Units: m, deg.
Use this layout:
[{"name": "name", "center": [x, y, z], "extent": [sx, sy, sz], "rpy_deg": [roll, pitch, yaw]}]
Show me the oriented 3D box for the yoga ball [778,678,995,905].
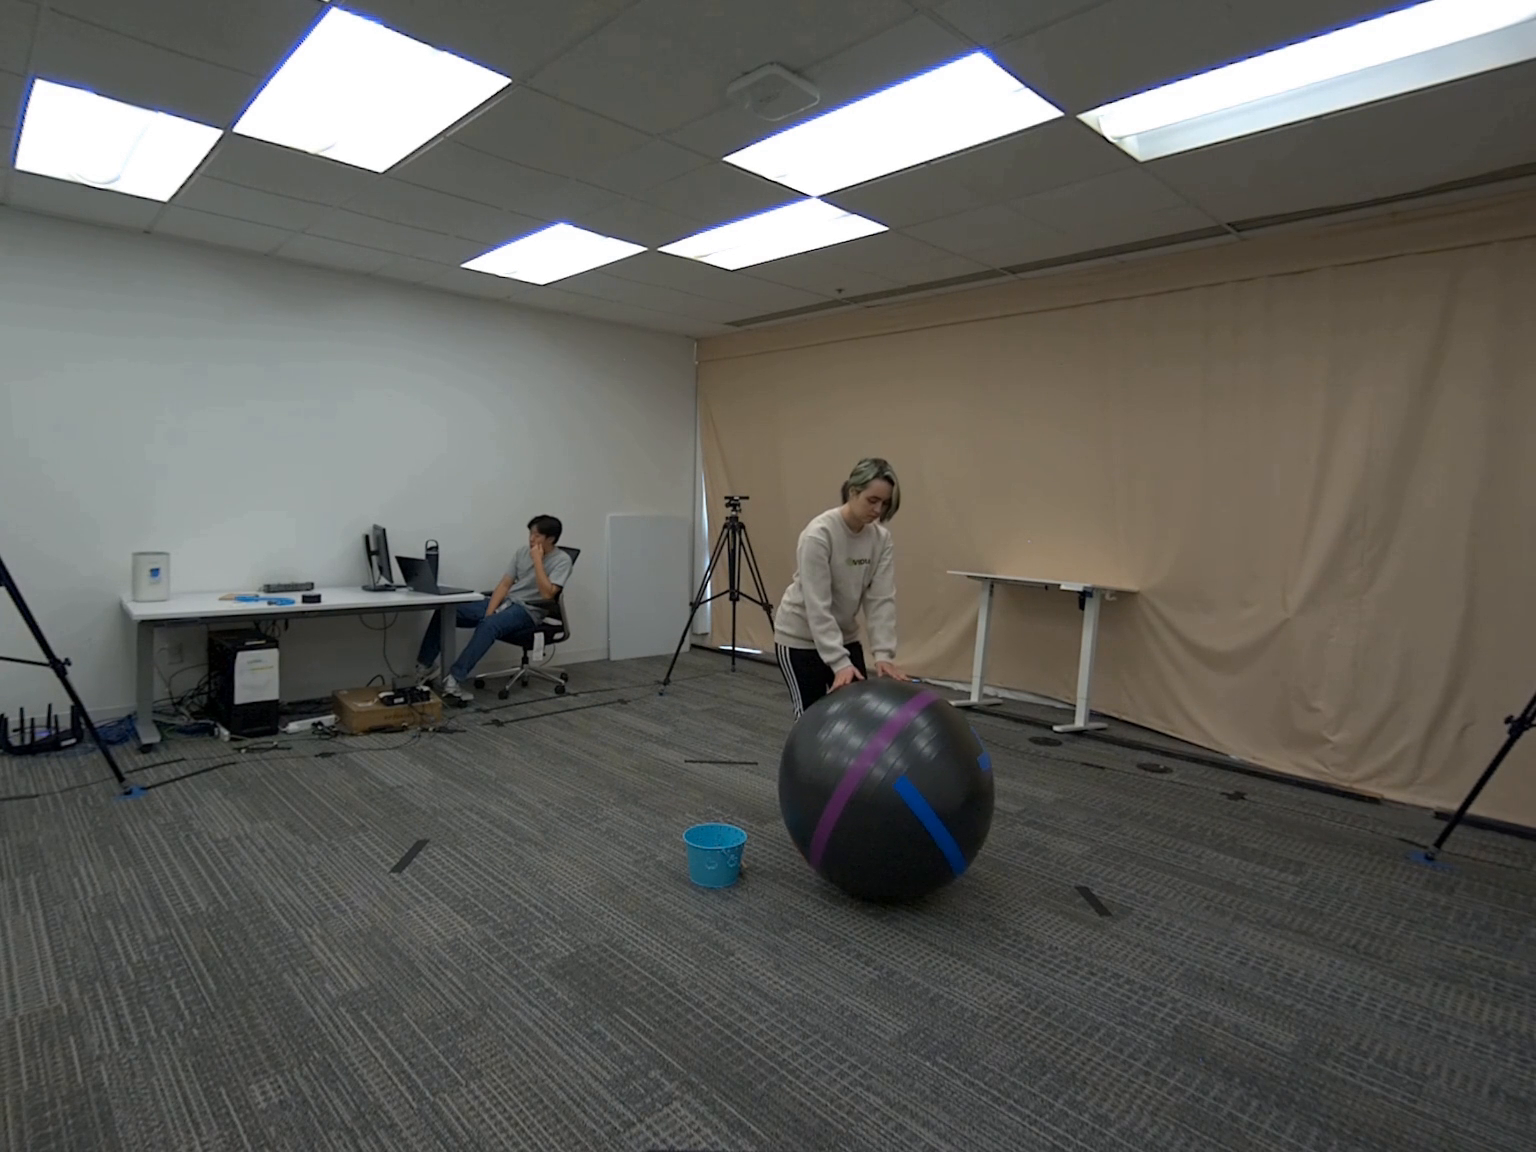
[{"name": "yoga ball", "center": [0.414, 0.756, 3.011], "extent": [0.757, 0.756, 0.761], "rpy_deg": [1, 4, -1]}]
